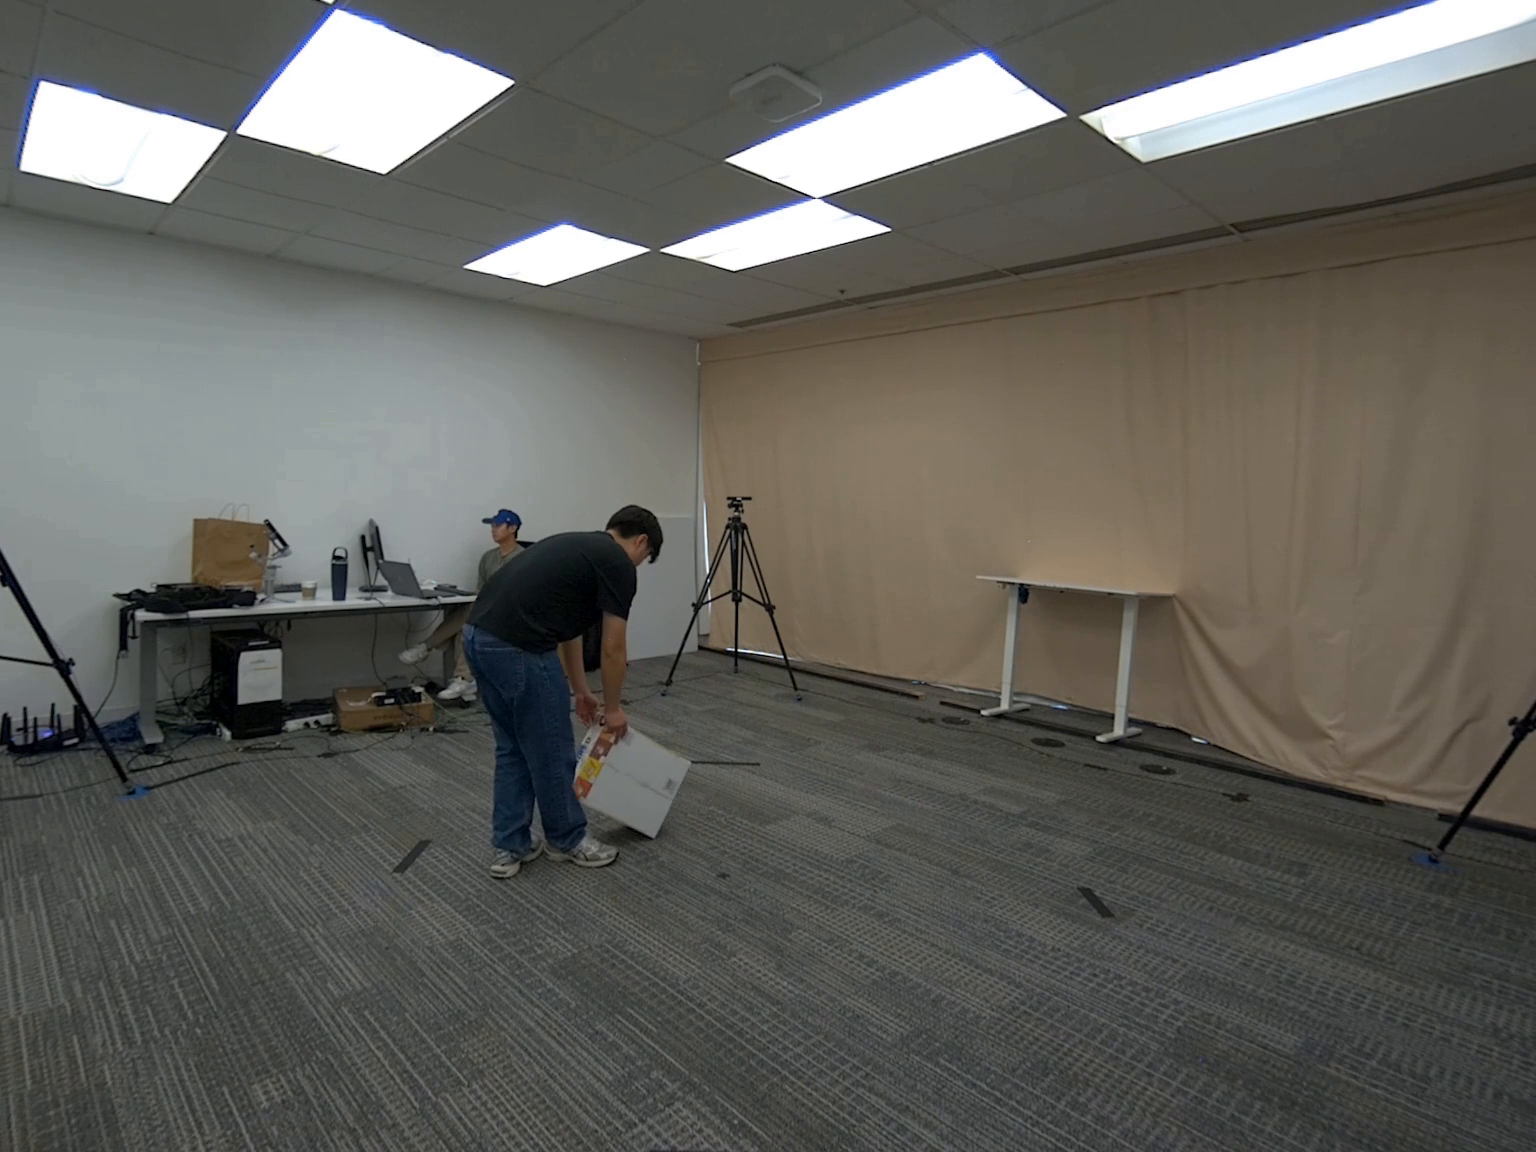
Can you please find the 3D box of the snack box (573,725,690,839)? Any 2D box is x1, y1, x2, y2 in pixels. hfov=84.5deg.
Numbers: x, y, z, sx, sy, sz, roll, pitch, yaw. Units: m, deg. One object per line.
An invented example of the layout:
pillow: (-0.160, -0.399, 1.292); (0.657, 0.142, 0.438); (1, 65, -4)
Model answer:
snack box: (-0.584, 0.817, 3.436); (0.393, 0.342, 0.211); (38, -19, -33)
